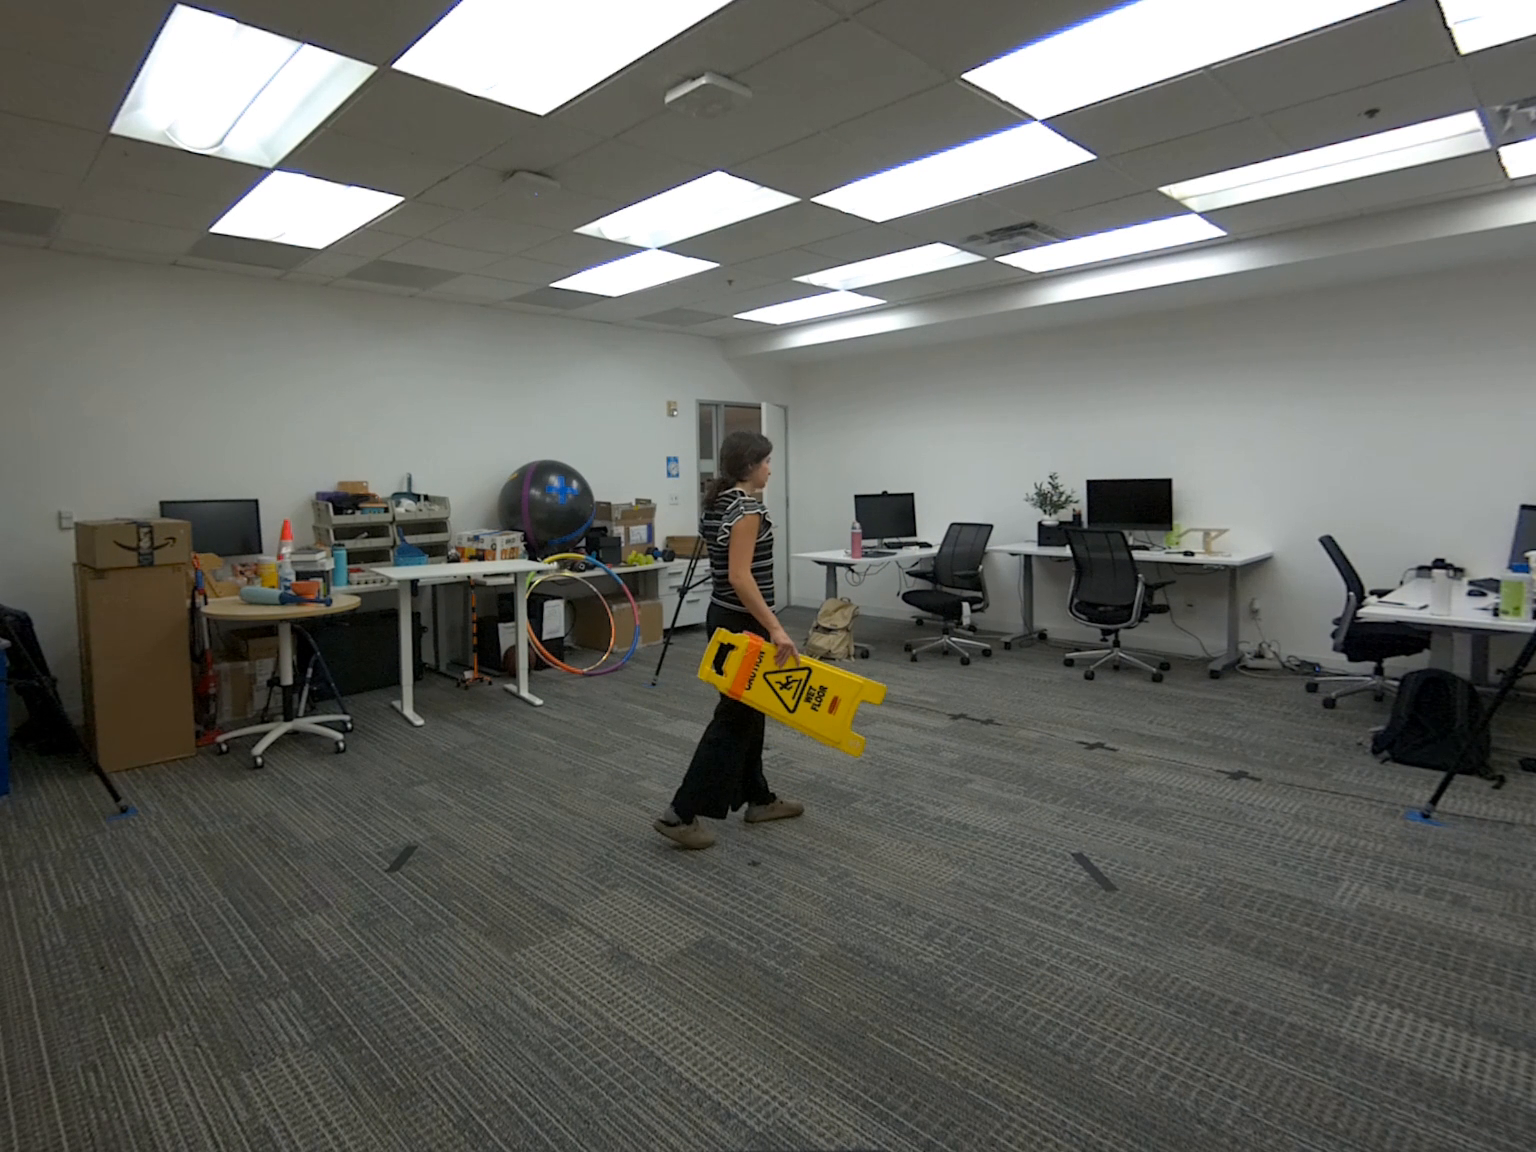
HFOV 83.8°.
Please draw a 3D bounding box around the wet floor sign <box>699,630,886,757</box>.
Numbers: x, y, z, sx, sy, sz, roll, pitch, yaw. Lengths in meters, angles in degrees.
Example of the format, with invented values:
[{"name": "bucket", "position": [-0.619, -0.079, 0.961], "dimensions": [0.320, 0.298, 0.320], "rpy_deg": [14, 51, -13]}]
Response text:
[{"name": "wet floor sign", "position": [0.063, 0.402, 3.148], "dimensions": [0.634, 0.283, 0.294], "rpy_deg": [25, -7, -15]}]
